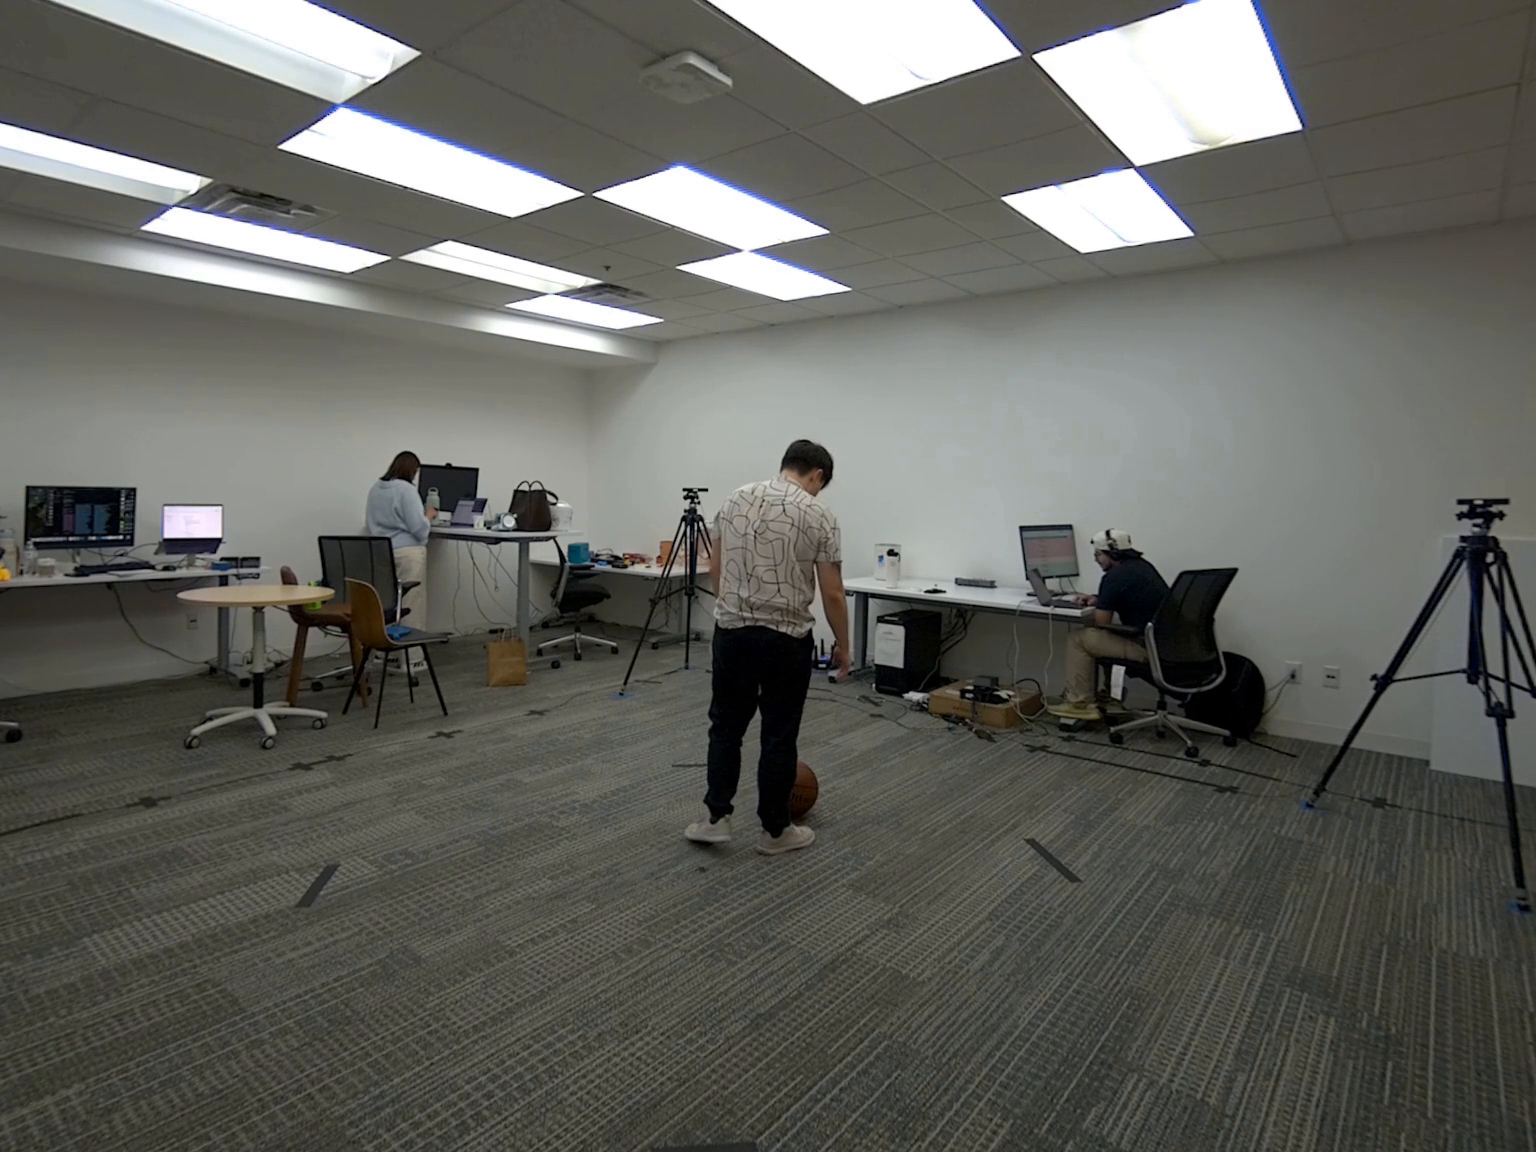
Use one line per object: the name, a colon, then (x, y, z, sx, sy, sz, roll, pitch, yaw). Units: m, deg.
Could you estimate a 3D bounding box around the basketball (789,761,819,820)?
basketball: (0.089, 0.903, 3.649, 0.235, 0.235, 0.237, 1, 4, -2)
